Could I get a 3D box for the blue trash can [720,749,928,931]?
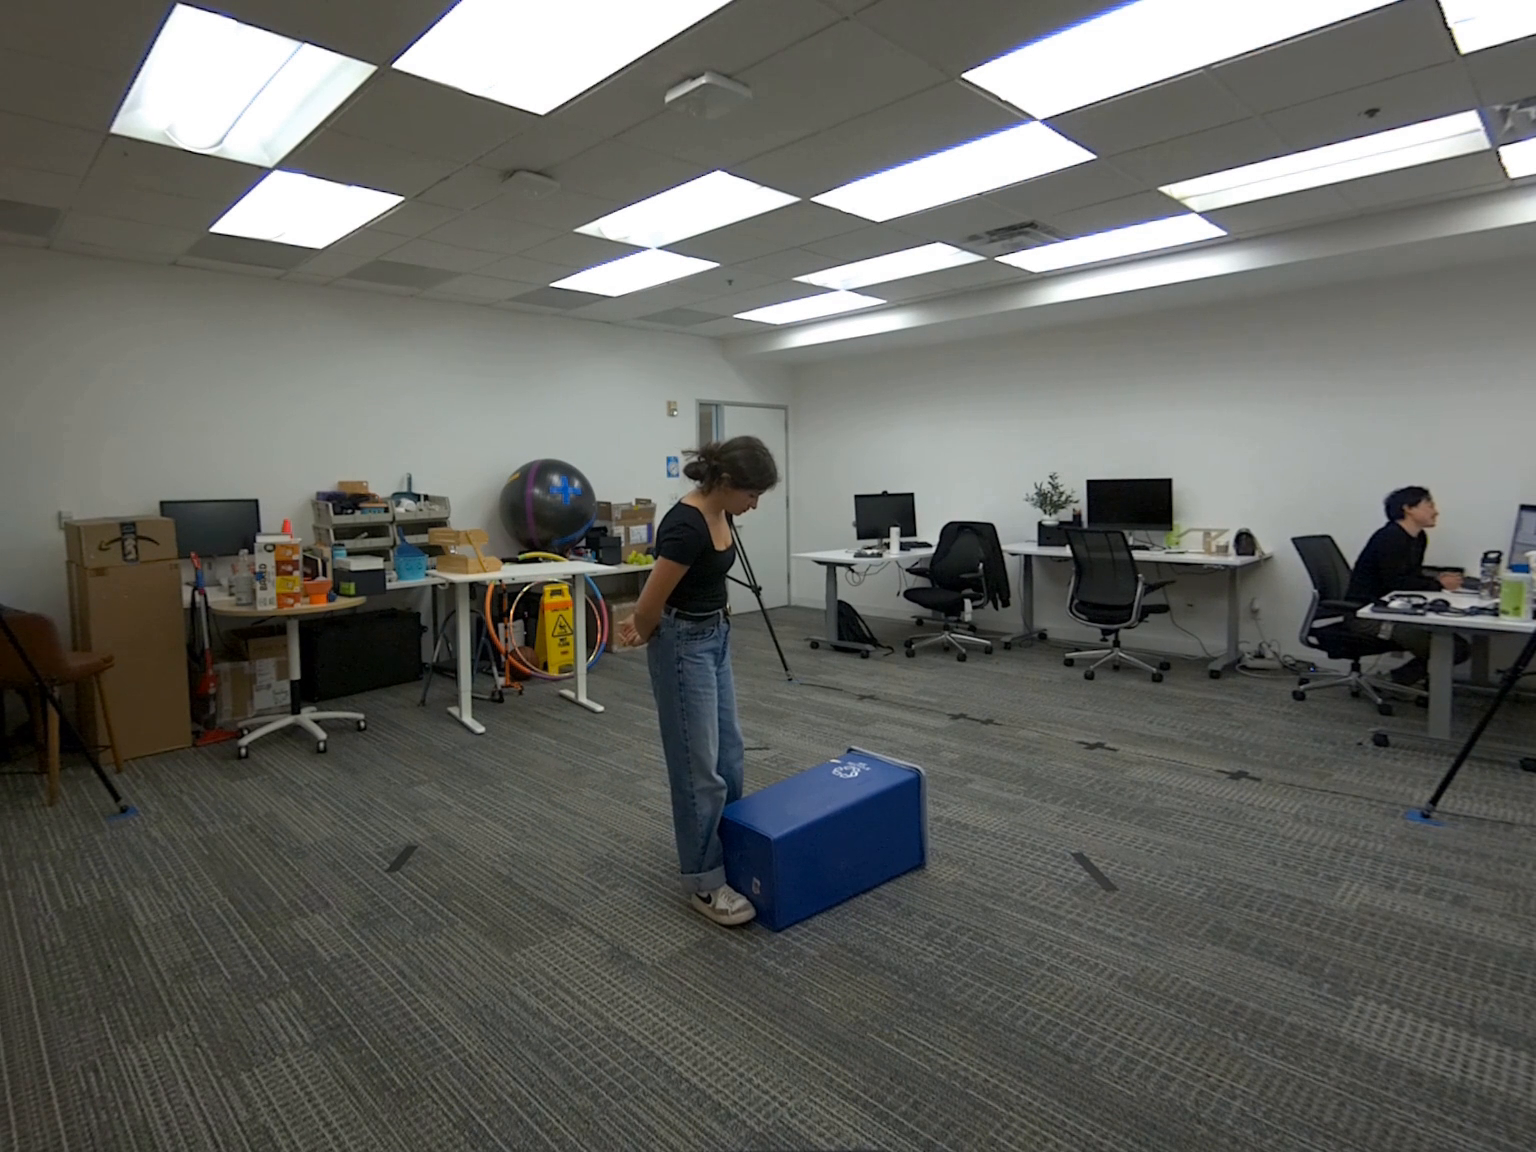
[{"bbox_3d":[0.189,0.893,2.939,0.696,0.376,0.385,-10,10,-41],"label":"blue trash can"}]
